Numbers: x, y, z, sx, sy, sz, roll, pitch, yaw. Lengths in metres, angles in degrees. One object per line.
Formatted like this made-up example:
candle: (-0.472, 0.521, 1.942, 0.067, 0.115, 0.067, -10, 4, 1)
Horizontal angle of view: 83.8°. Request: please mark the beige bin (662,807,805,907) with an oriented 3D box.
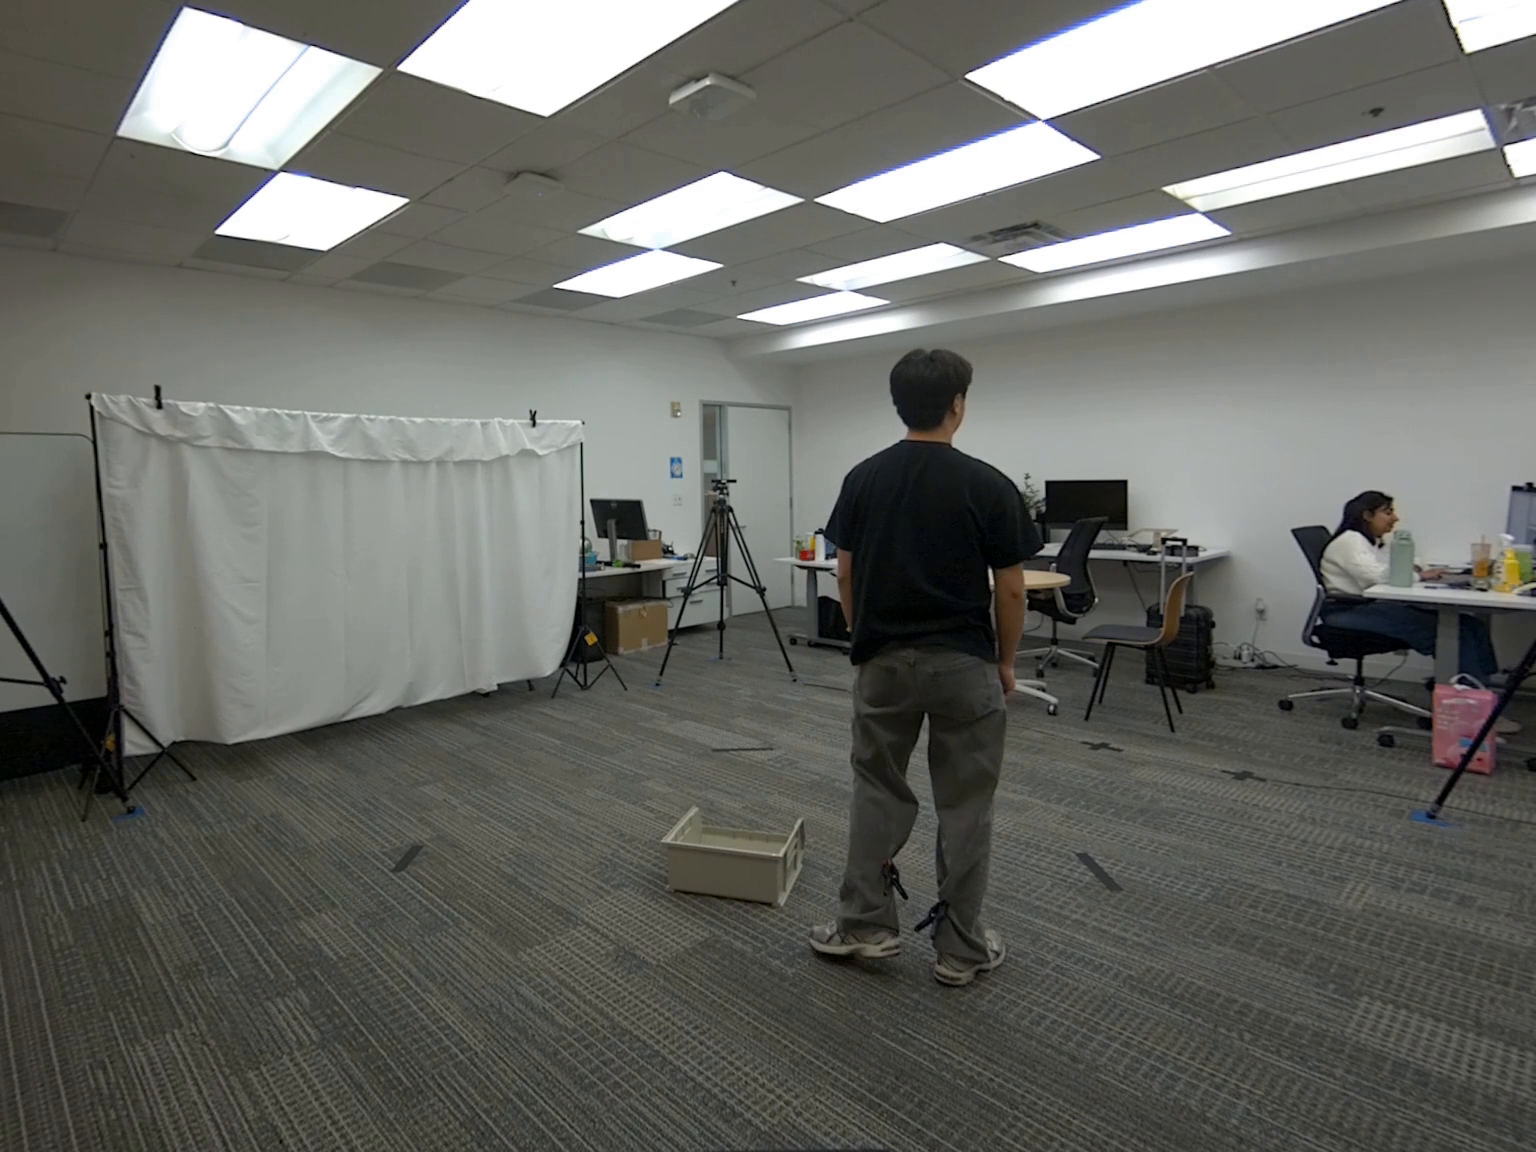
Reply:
beige bin: (-0.110, 0.970, 3.009, 0.429, 0.188, 0.373, 1, 7, 16)
